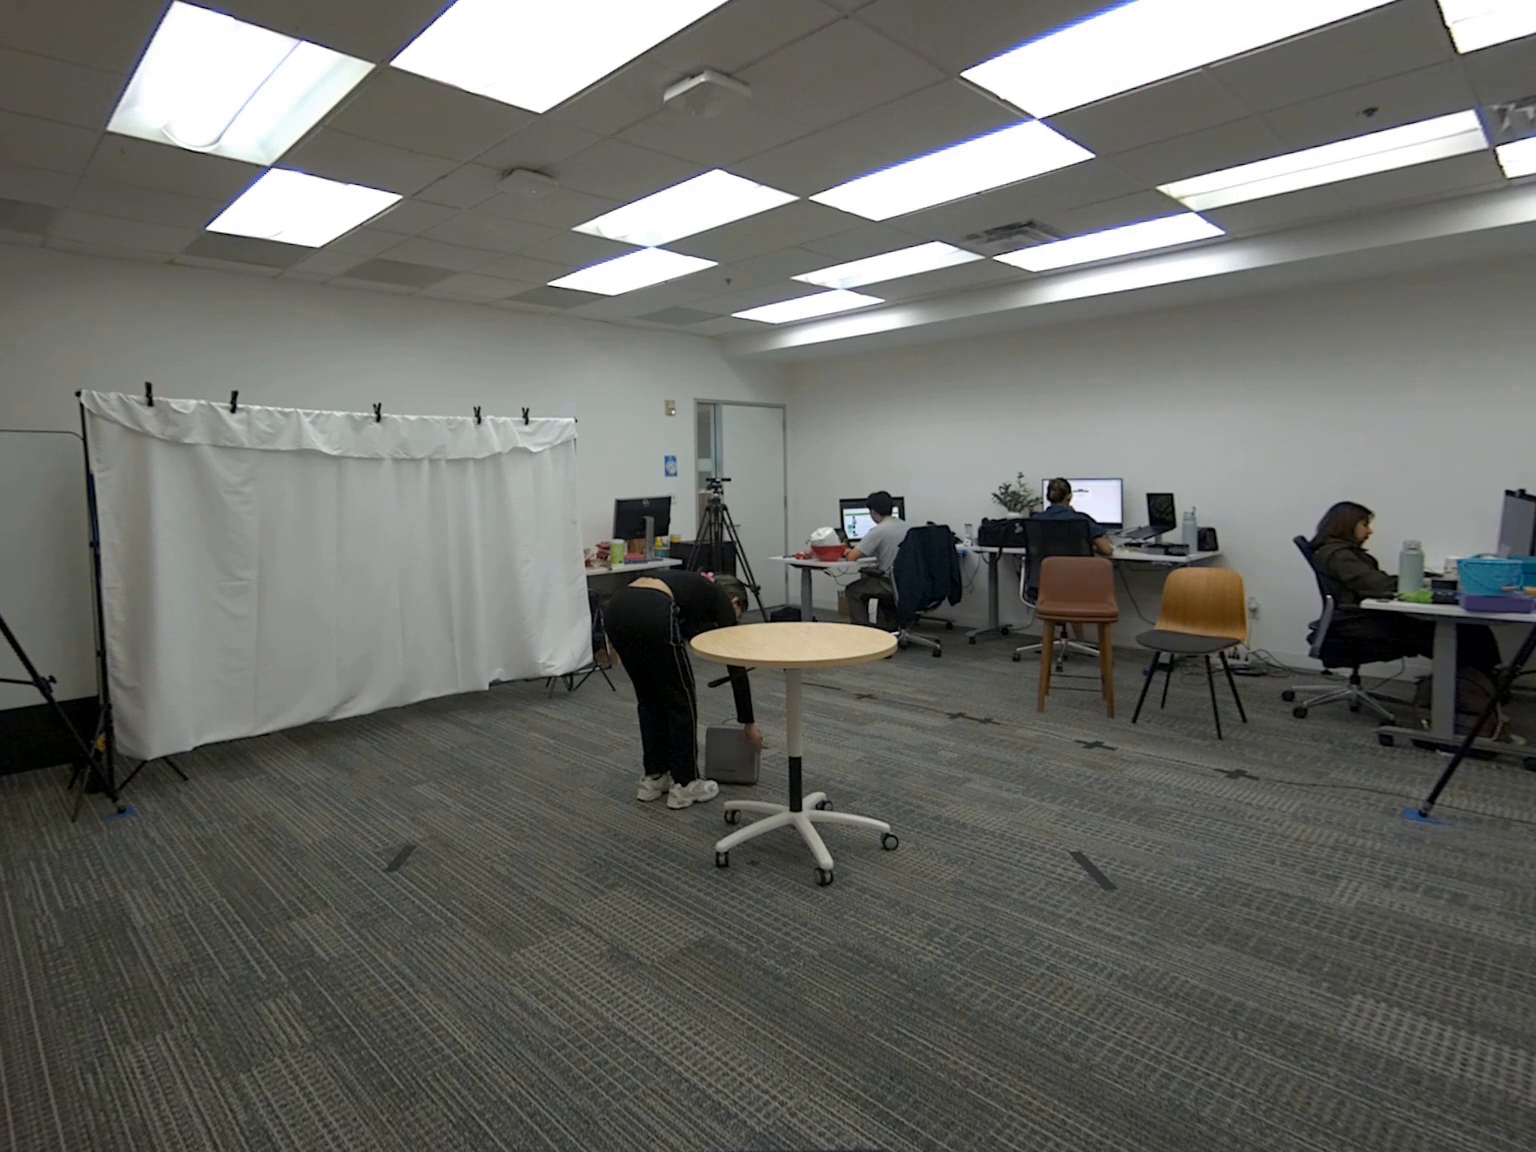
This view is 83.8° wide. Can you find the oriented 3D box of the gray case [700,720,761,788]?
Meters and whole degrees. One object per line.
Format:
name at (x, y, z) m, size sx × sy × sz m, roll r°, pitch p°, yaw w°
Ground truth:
gray case at (-0.169, 0.811, 3.955) m, size 0.260 × 0.262 × 0.102 m, roll -2°, pitch -5°, yaw 15°
